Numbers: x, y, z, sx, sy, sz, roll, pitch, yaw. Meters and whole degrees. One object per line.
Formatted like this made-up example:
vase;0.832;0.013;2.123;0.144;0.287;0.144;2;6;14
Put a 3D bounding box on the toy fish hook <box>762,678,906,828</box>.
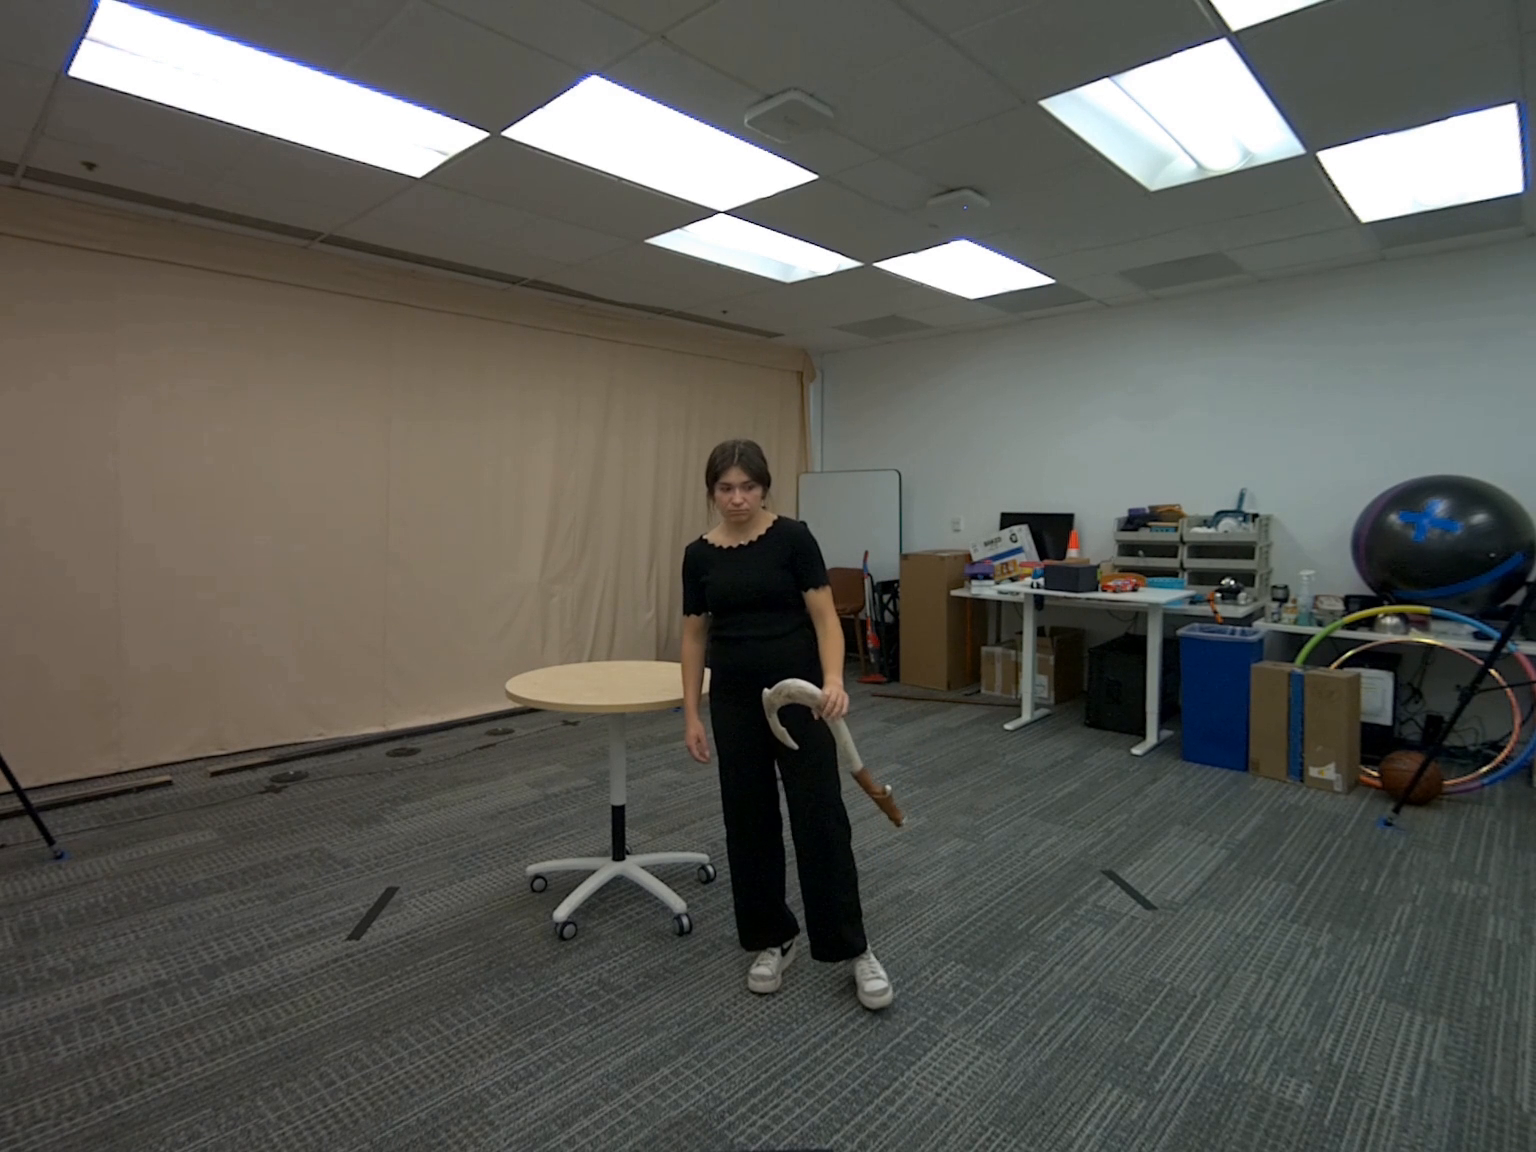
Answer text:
toy fish hook;0.170;0.489;2.246;0.229;0.503;0.048;-29;8;39
